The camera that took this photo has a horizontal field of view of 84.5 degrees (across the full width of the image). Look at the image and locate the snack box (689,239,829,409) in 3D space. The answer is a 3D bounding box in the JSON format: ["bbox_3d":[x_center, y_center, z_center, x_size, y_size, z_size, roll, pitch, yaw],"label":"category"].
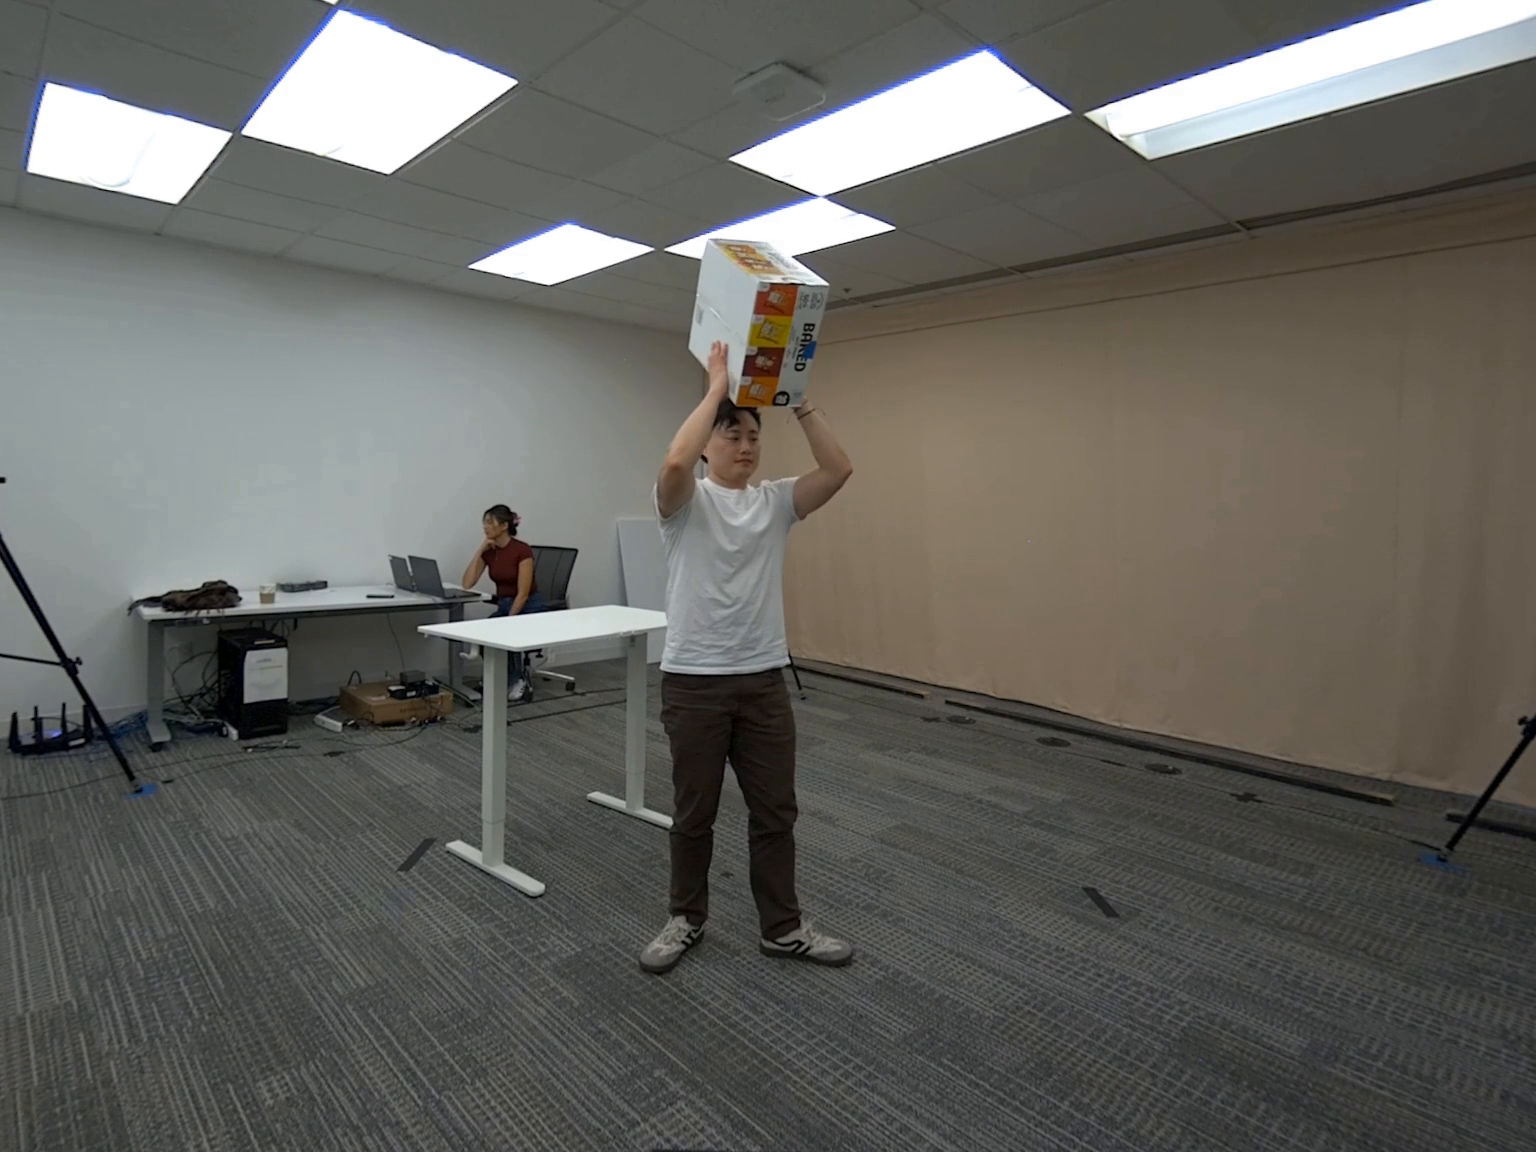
[{"bbox_3d":[-0.044,-0.715,2.358,0.202,0.335,0.418,-3,36,-25],"label":"snack box"}]
